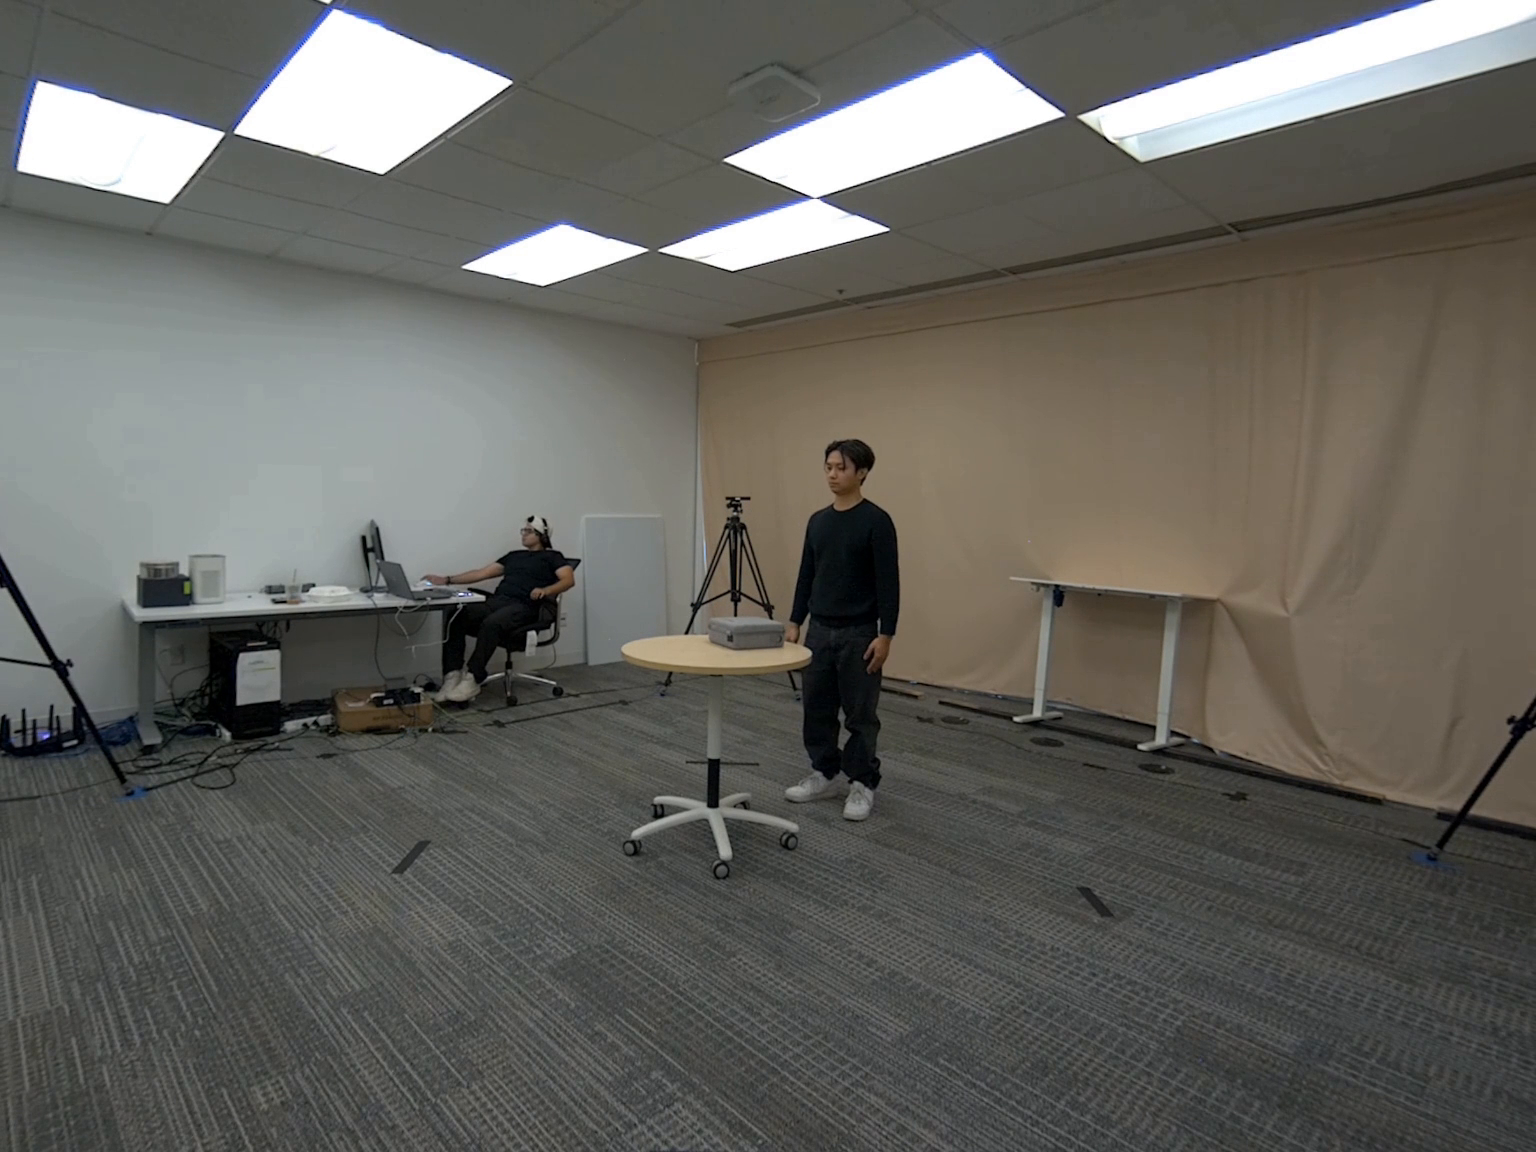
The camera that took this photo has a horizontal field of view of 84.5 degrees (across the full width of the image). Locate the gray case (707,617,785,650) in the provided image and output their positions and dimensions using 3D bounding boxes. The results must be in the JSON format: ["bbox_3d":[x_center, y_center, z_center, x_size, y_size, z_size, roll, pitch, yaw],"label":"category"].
[{"bbox_3d":[-0.103,0.234,3.533,0.255,0.104,0.262,0,3,-30],"label":"gray case"}]
